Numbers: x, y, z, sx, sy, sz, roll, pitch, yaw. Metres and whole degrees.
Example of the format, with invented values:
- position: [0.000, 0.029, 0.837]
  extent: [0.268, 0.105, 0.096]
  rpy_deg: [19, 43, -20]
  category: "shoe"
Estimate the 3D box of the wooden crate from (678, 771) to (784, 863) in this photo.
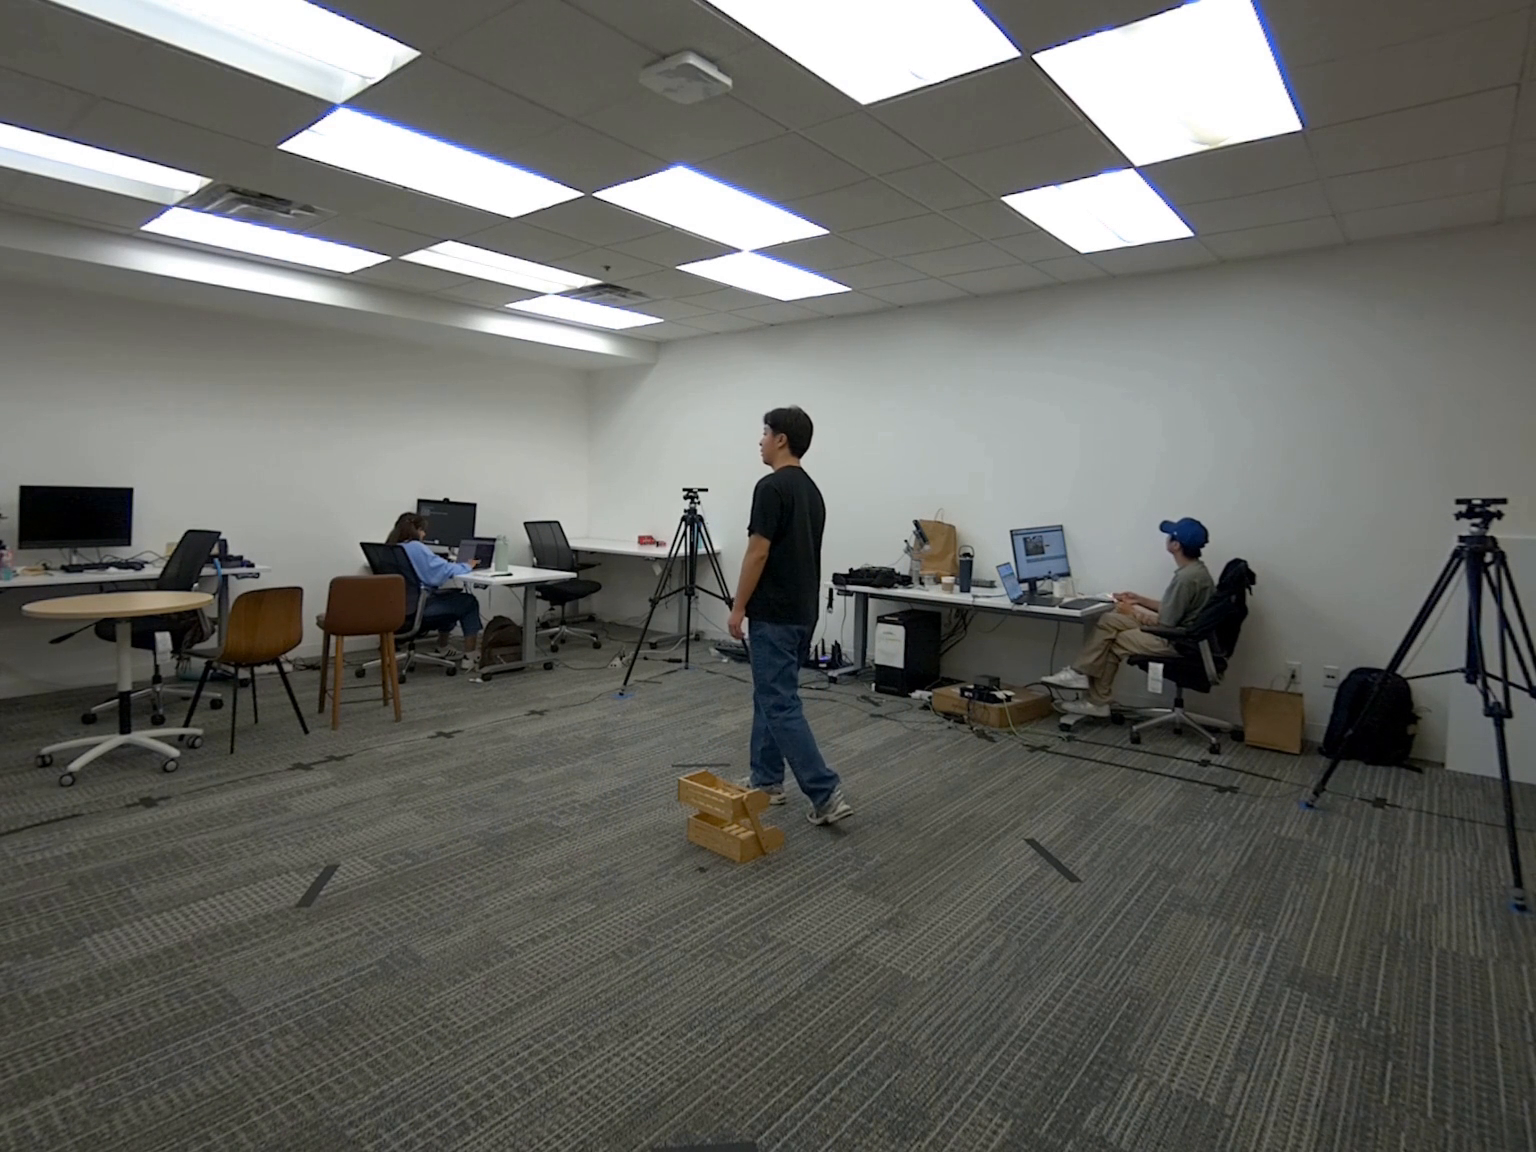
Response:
- position: [-0.152, 0.916, 3.332]
  extent: [0.335, 0.272, 0.293]
  rpy_deg: [5, 6, 43]
  category: "wooden crate"
